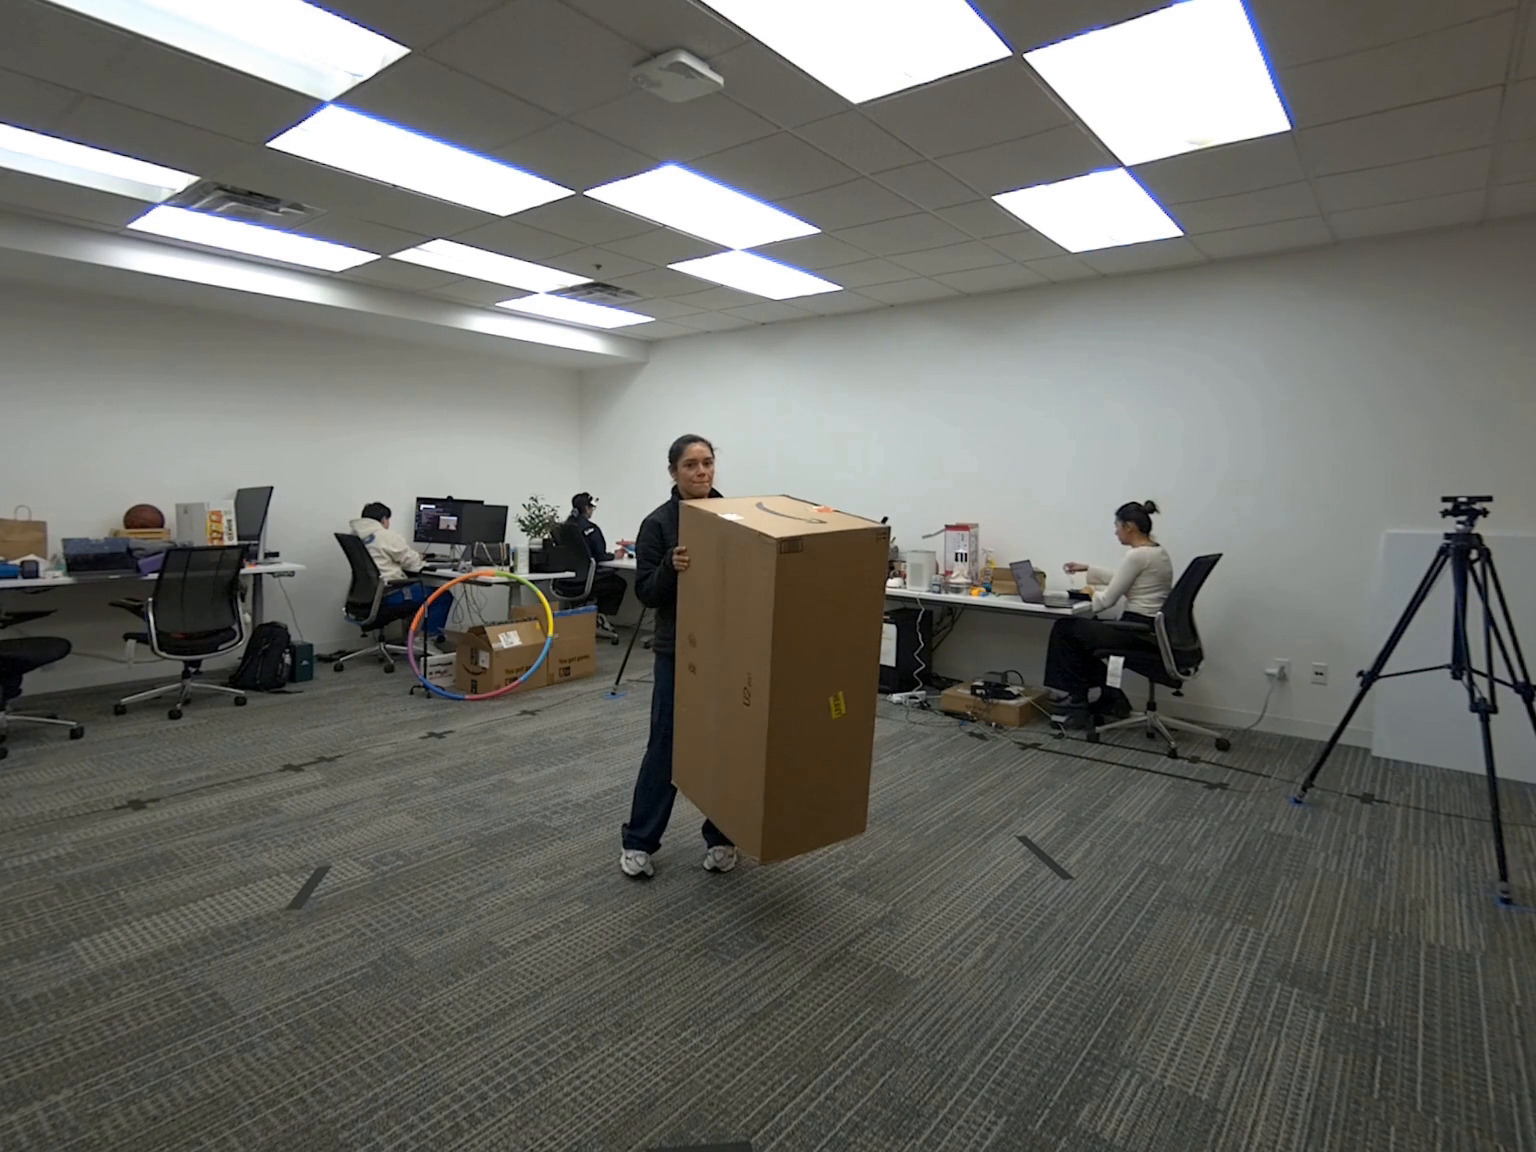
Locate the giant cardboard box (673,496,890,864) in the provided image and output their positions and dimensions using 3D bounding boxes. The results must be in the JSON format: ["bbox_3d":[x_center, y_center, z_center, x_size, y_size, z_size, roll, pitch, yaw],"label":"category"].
[{"bbox_3d":[0.015,0.291,2.798,0.415,1.014,0.599,-5,15,-31],"label":"giant cardboard box"}]
